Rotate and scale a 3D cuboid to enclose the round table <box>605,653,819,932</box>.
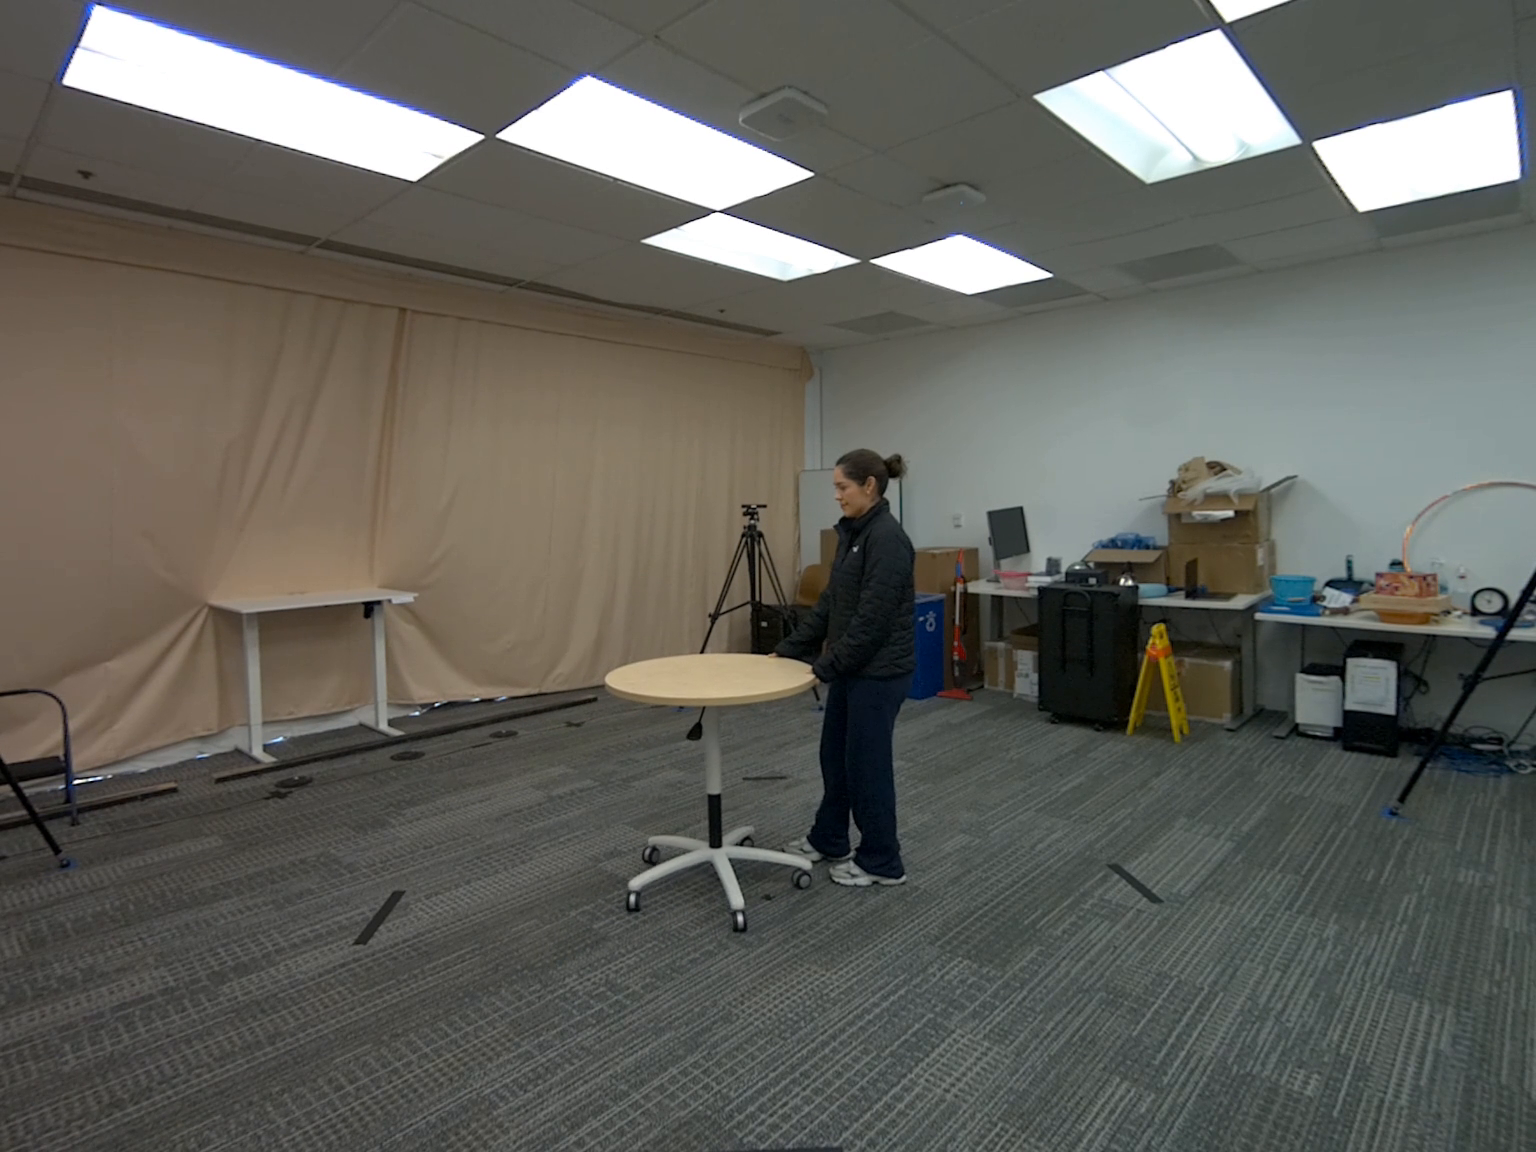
[{"bbox_3d":[-0.176,0.745,3.076,0.784,0.784,0.788,-2,4,-2],"label":"round table"}]
